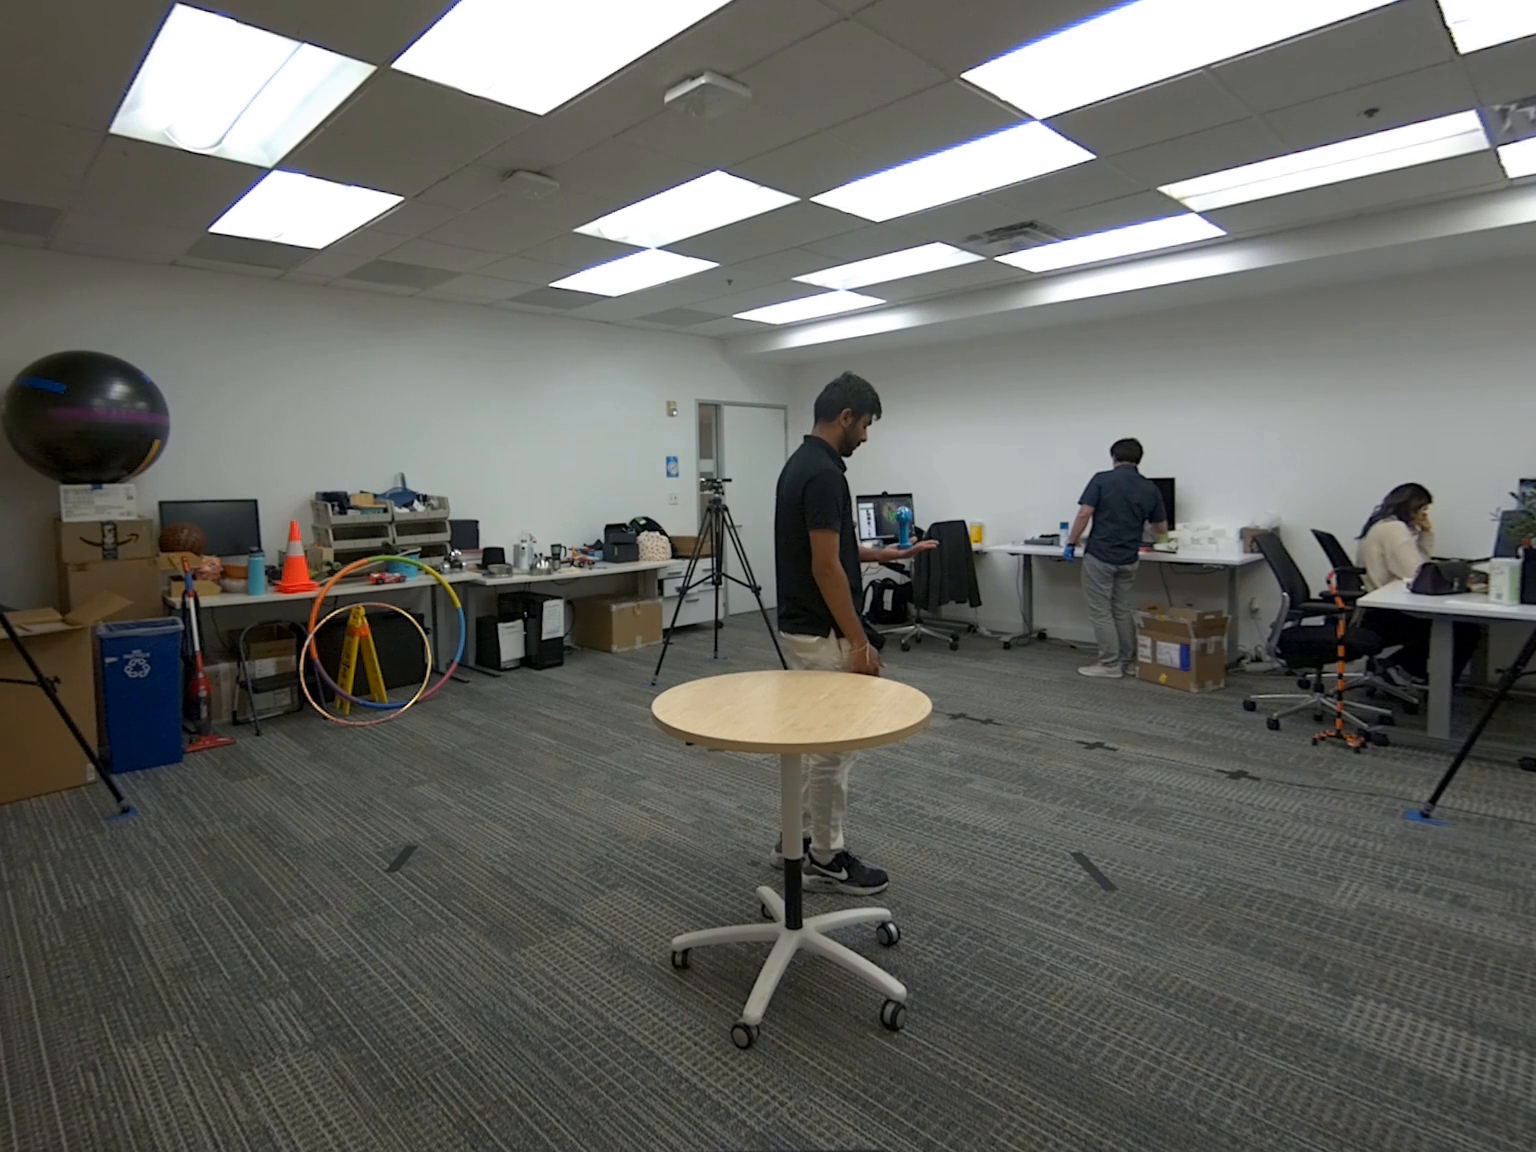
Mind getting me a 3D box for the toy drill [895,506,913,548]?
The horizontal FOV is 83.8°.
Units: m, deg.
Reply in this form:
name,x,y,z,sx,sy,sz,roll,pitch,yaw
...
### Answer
name,x,y,z,sx,sy,sz,roll,pitch,yaw
toy drill,0.478,-0.174,2.971,0.062,0.144,0.170,-3,11,10
